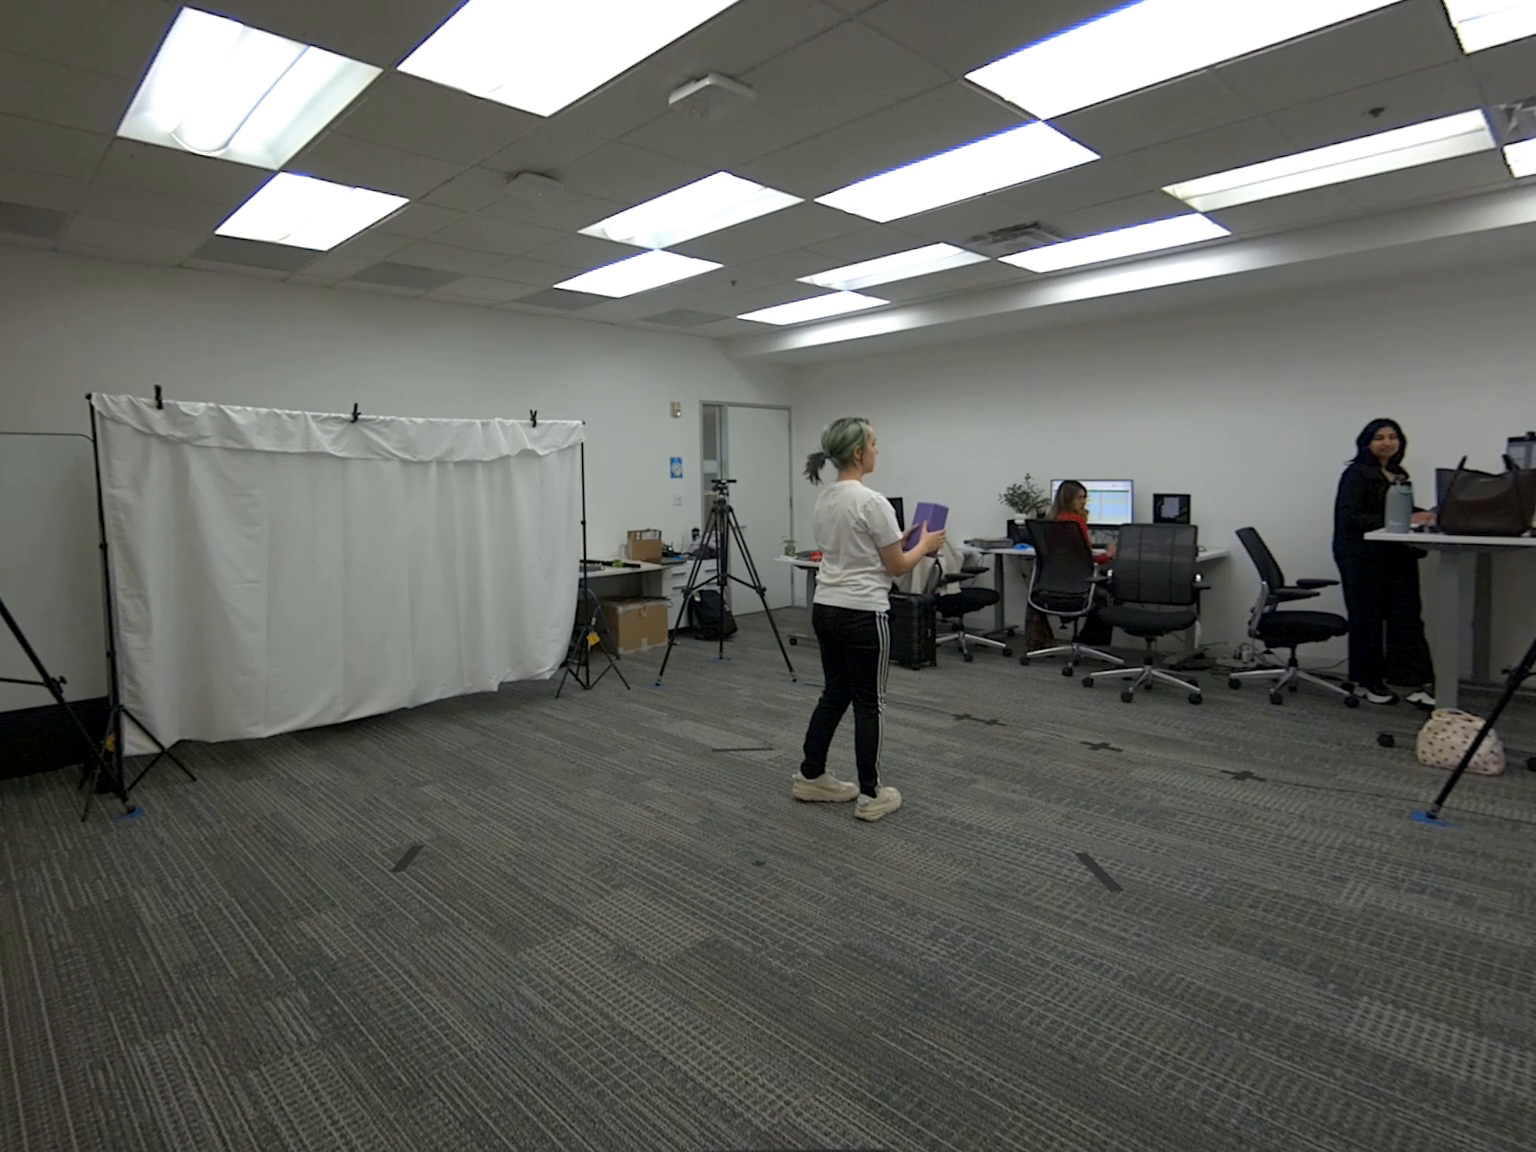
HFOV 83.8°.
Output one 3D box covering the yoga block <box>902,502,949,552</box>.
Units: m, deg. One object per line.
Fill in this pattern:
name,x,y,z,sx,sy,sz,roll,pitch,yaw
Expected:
yoga block,0.695,-0.202,3.720,0.074,0.229,0.152,14,0,-23
